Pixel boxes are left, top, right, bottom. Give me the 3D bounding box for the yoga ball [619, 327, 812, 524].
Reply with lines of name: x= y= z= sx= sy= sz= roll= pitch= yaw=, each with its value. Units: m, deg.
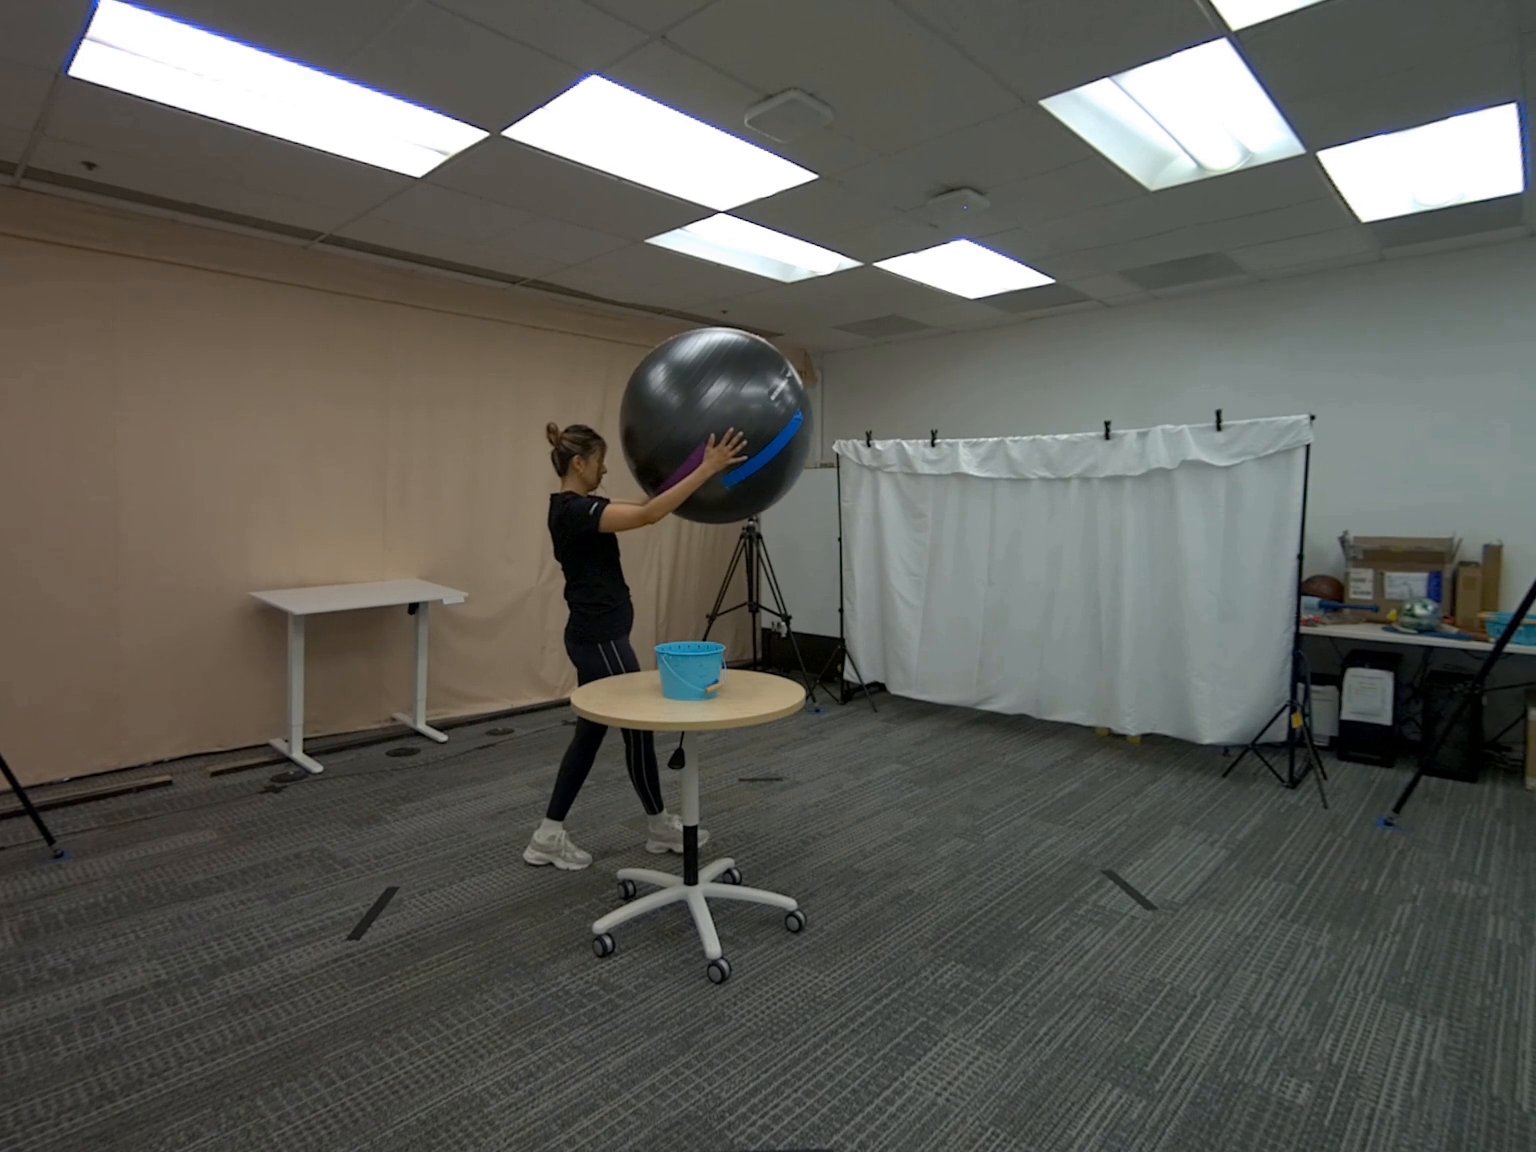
yoga ball: x=-0.198 y=-0.579 z=3.291 sx=0.757 sy=0.756 sz=0.761 roll=0 pitch=4 yaw=-2
